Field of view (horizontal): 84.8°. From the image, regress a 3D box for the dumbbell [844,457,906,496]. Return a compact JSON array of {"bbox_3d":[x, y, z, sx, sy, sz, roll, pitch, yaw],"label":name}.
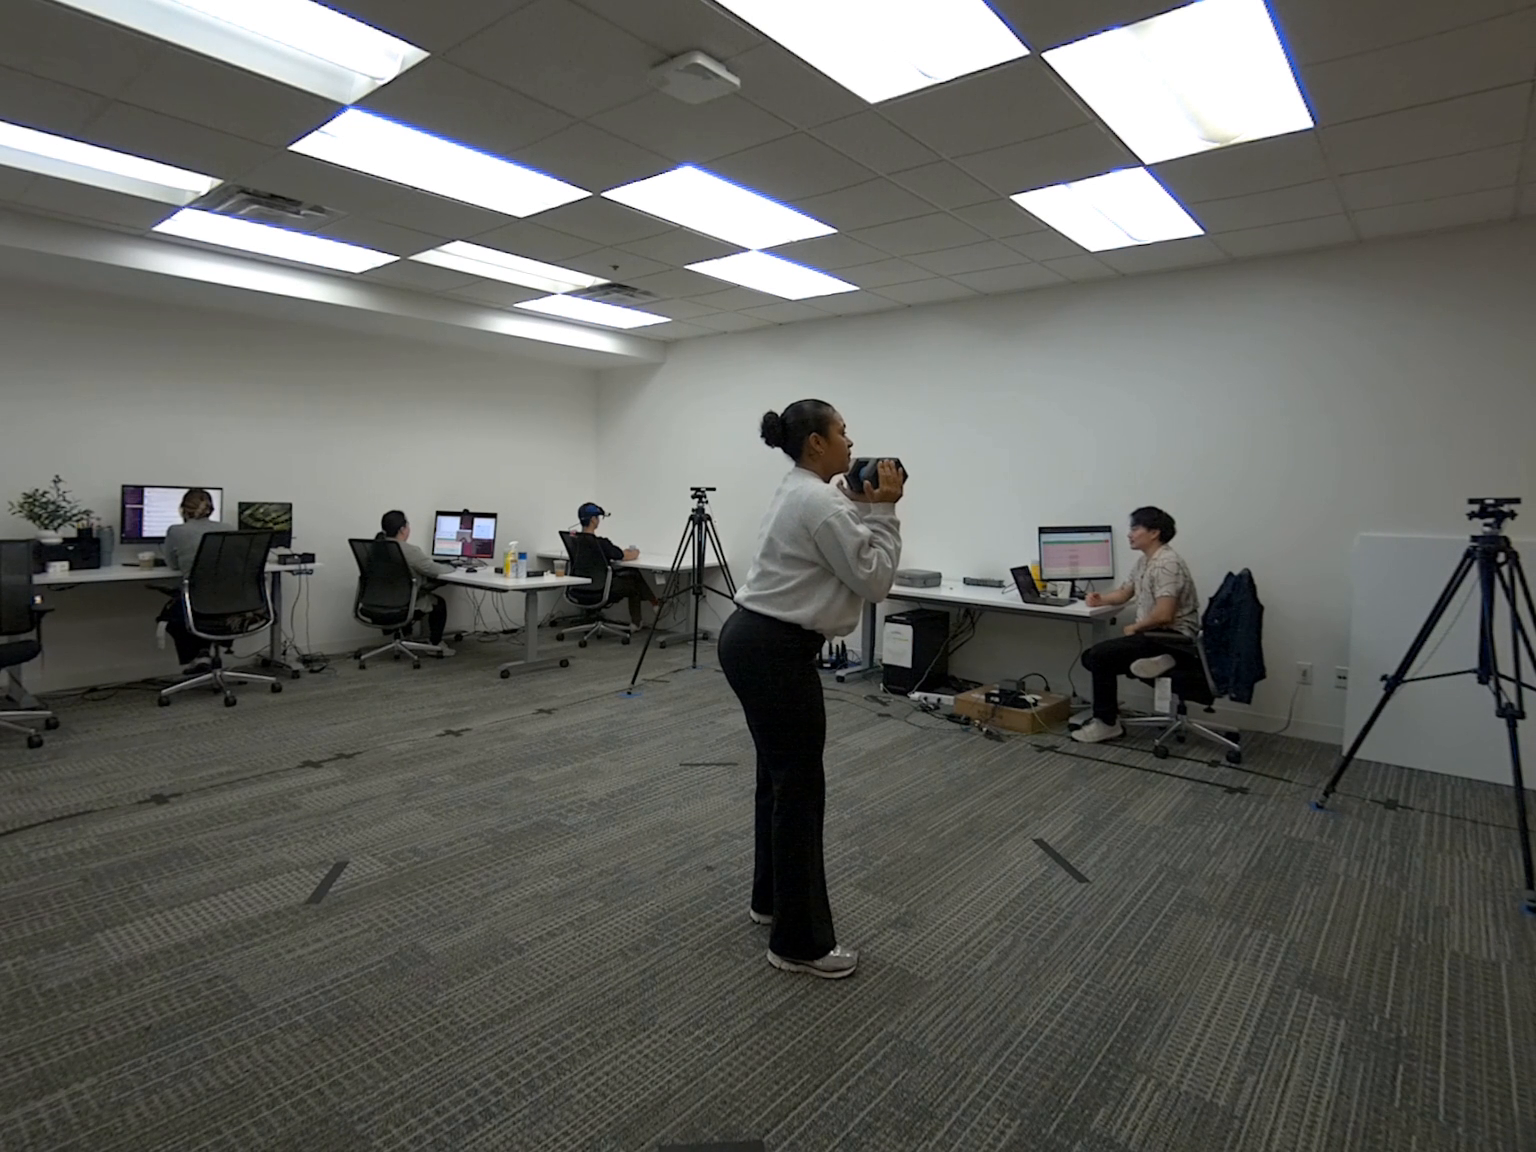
[{"bbox_3d":[0.308,-0.298,2.559,0.108,0.121,0.298,-34,11,-2],"label":"dumbbell"}]
